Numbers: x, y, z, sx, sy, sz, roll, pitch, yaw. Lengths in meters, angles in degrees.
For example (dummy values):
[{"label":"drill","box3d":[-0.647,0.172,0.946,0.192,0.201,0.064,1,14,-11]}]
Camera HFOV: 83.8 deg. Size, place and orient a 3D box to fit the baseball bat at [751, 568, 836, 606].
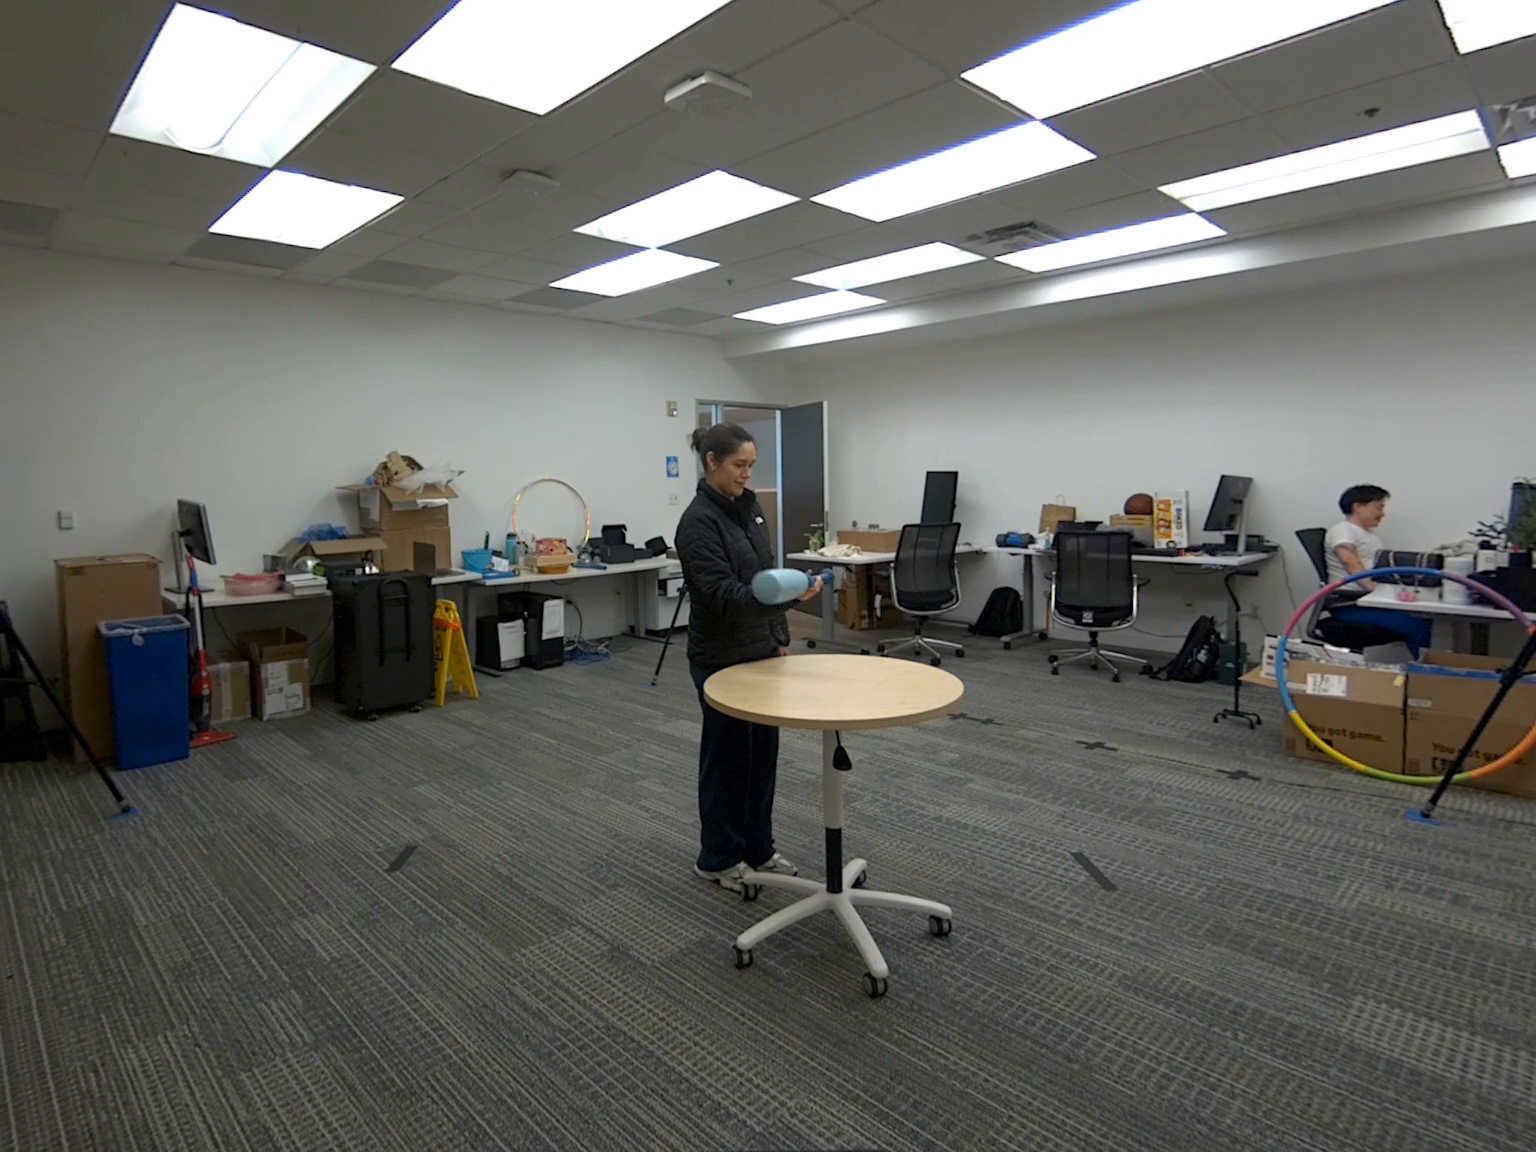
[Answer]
[{"label":"baseball bat","box3d":[0.102,0.021,2.498,0.091,0.089,0.532,1,3,22]}]
